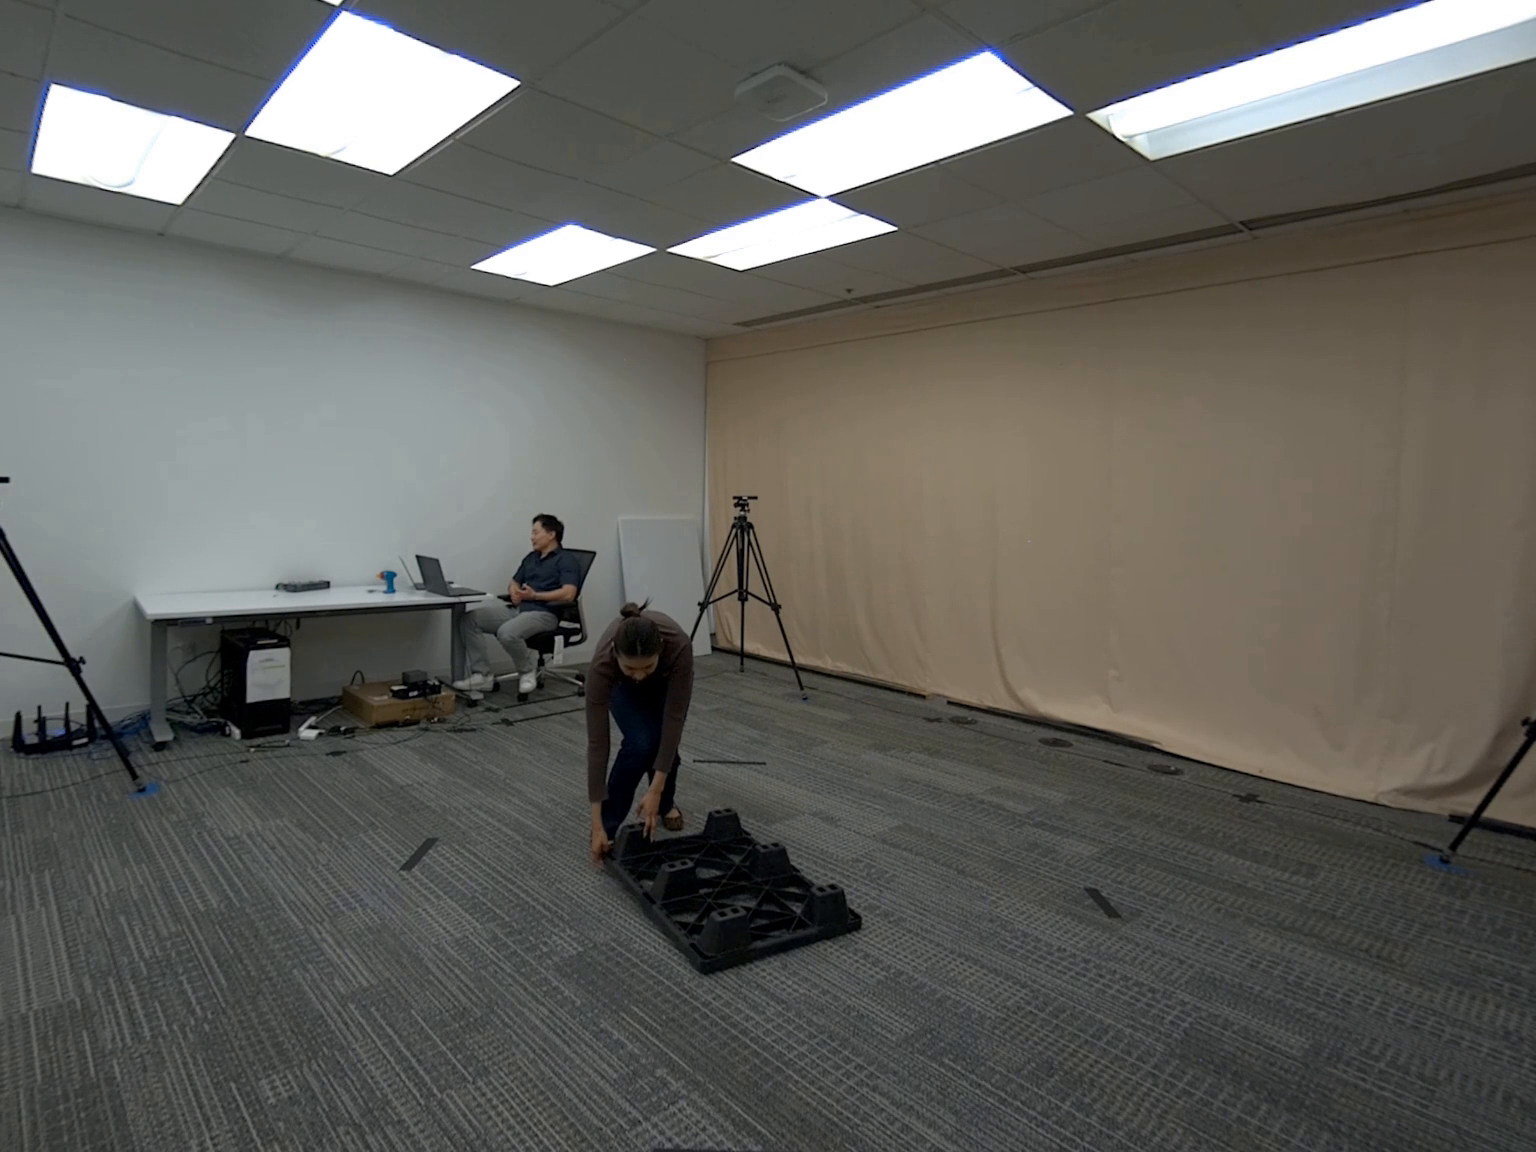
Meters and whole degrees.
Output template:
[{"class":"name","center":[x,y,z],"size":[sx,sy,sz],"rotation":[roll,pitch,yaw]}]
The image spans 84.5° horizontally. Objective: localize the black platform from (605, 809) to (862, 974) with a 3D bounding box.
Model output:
[{"class":"black platform","center":[-0.151,1.037,2.915],"size":[0.592,0.143,0.826],"rotation":[-1,8,-33]}]
